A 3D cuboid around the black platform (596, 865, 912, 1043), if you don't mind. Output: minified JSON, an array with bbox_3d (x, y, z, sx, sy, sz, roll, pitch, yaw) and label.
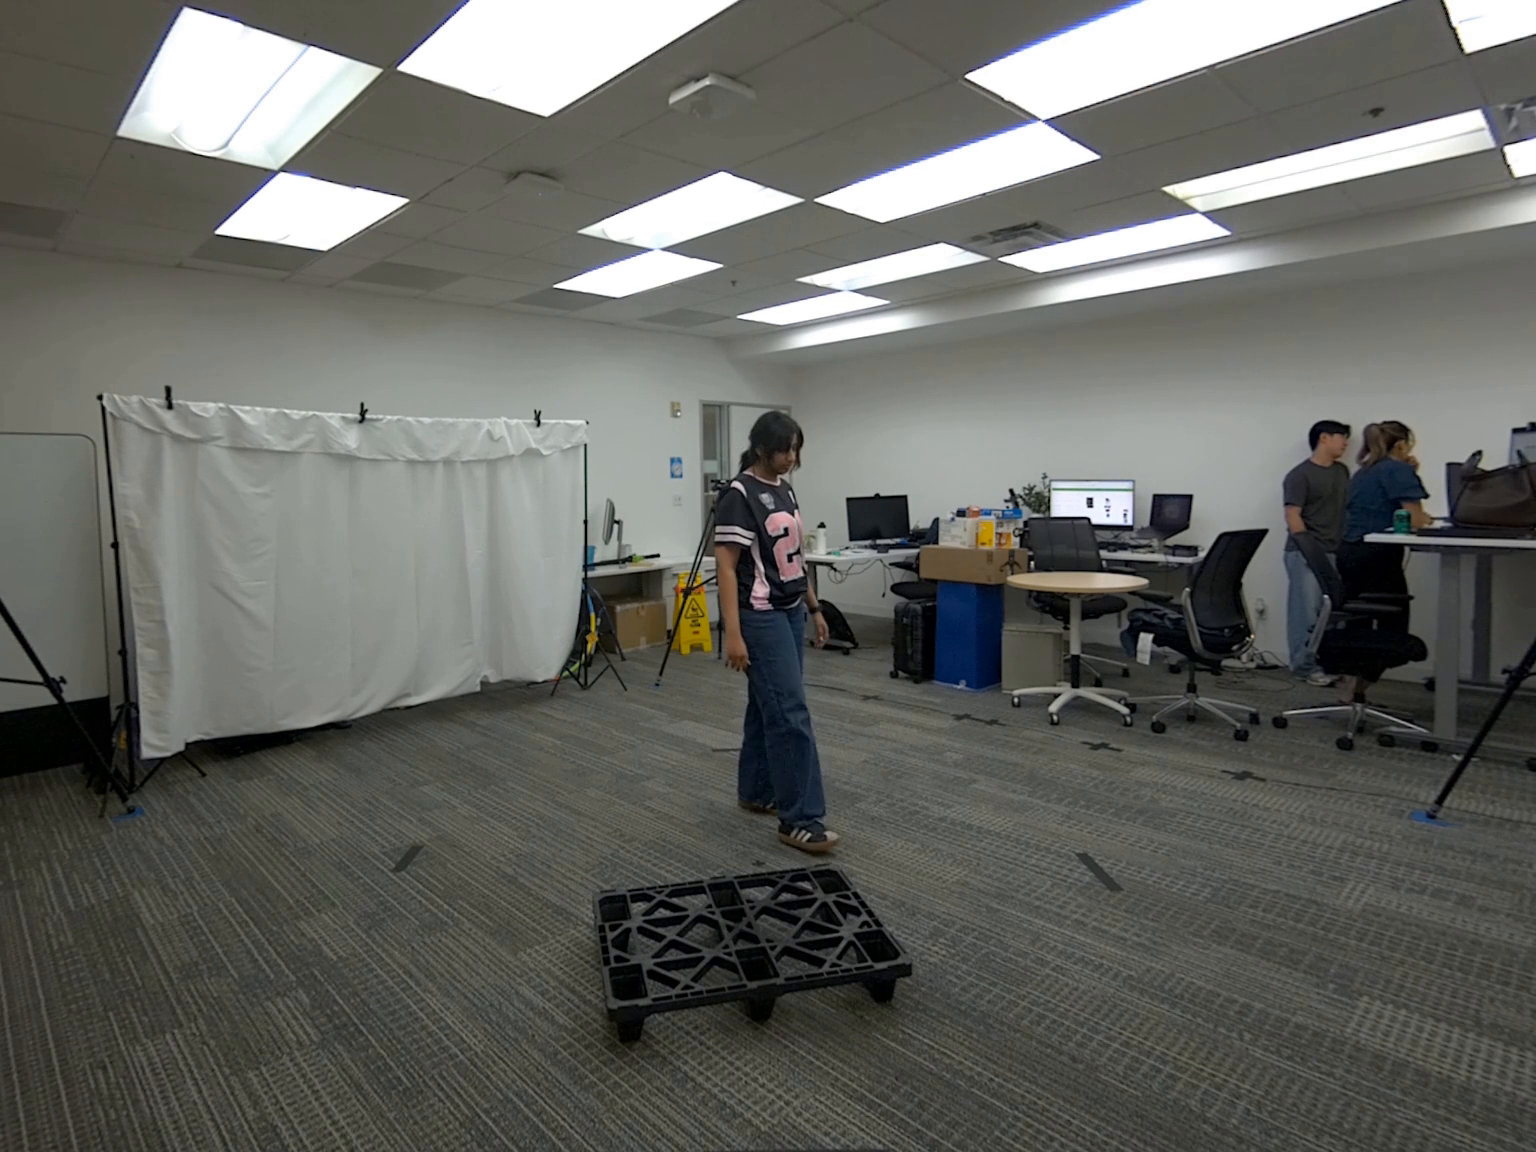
[{"bbox_3d":[-0.079,1.060,2.439,0.796,0.143,0.615,-3,6,-13],"label":"black platform"}]
